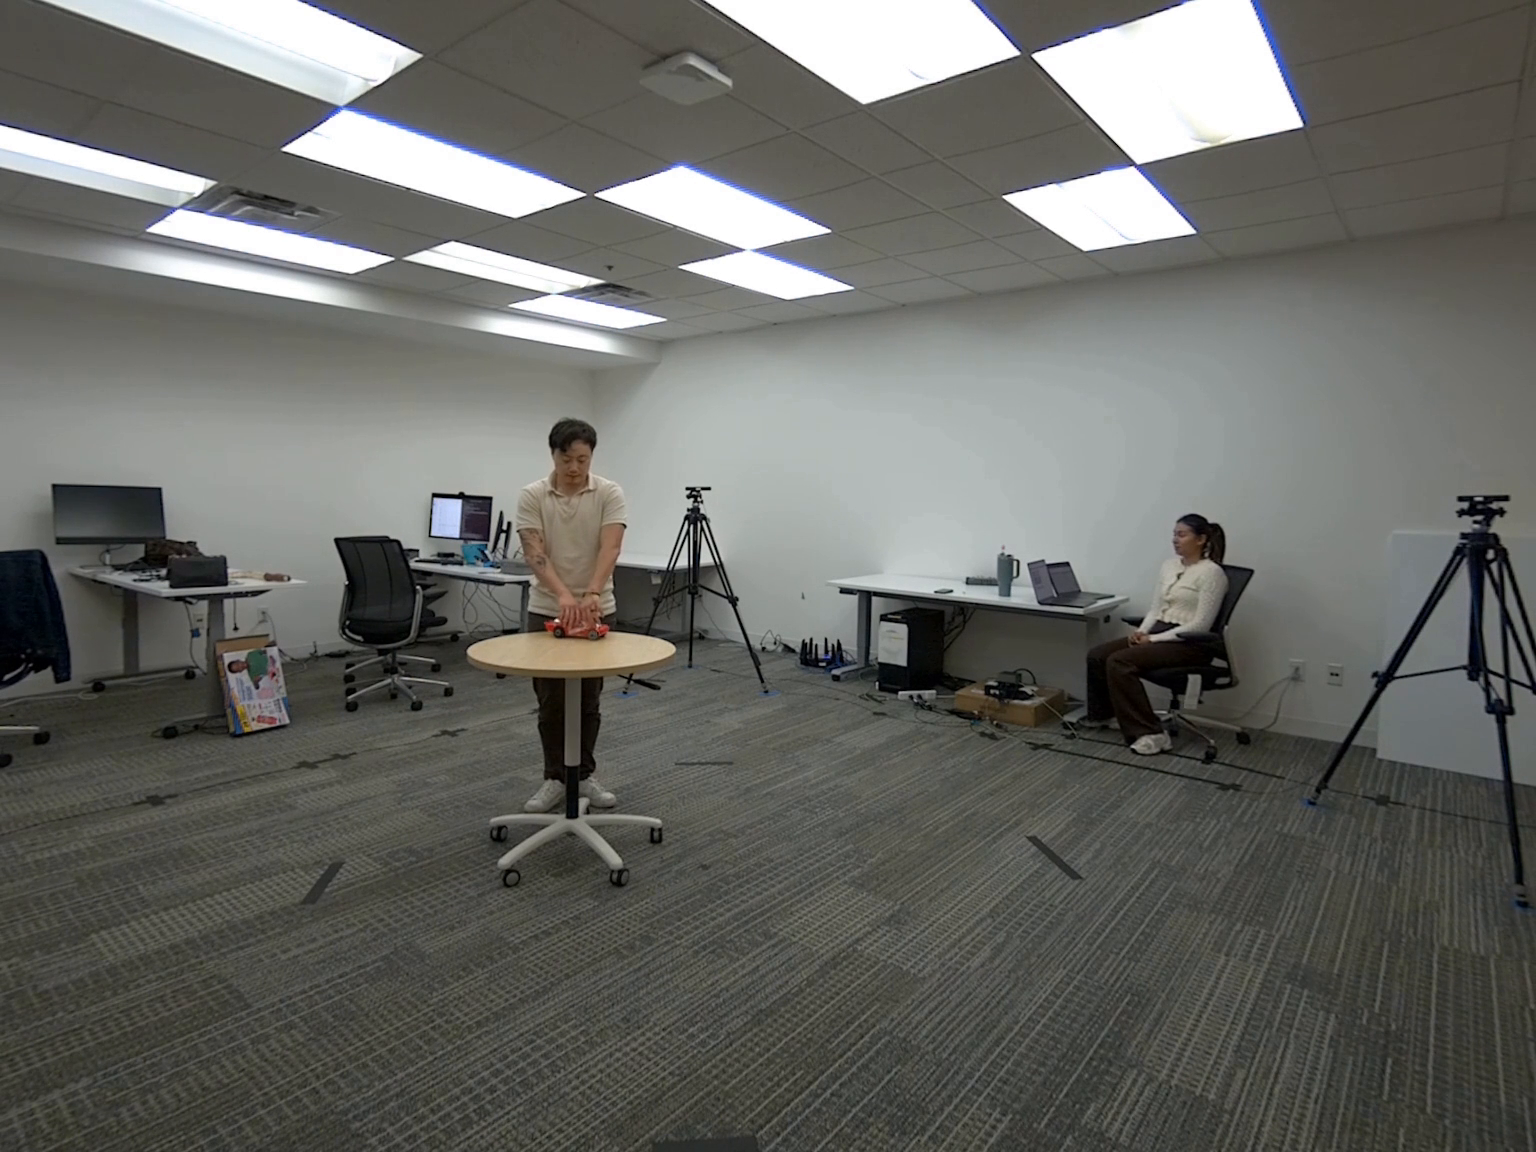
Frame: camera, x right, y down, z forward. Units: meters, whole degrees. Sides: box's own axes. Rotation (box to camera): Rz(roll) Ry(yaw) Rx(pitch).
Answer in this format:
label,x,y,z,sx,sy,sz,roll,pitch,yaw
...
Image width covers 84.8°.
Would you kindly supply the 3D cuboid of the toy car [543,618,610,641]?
label,x,y,z,sx,sy,sz,roll,pitch,yaw
toy car,-0.791,0.214,3.415,0.258,0.083,0.129,13,6,10
